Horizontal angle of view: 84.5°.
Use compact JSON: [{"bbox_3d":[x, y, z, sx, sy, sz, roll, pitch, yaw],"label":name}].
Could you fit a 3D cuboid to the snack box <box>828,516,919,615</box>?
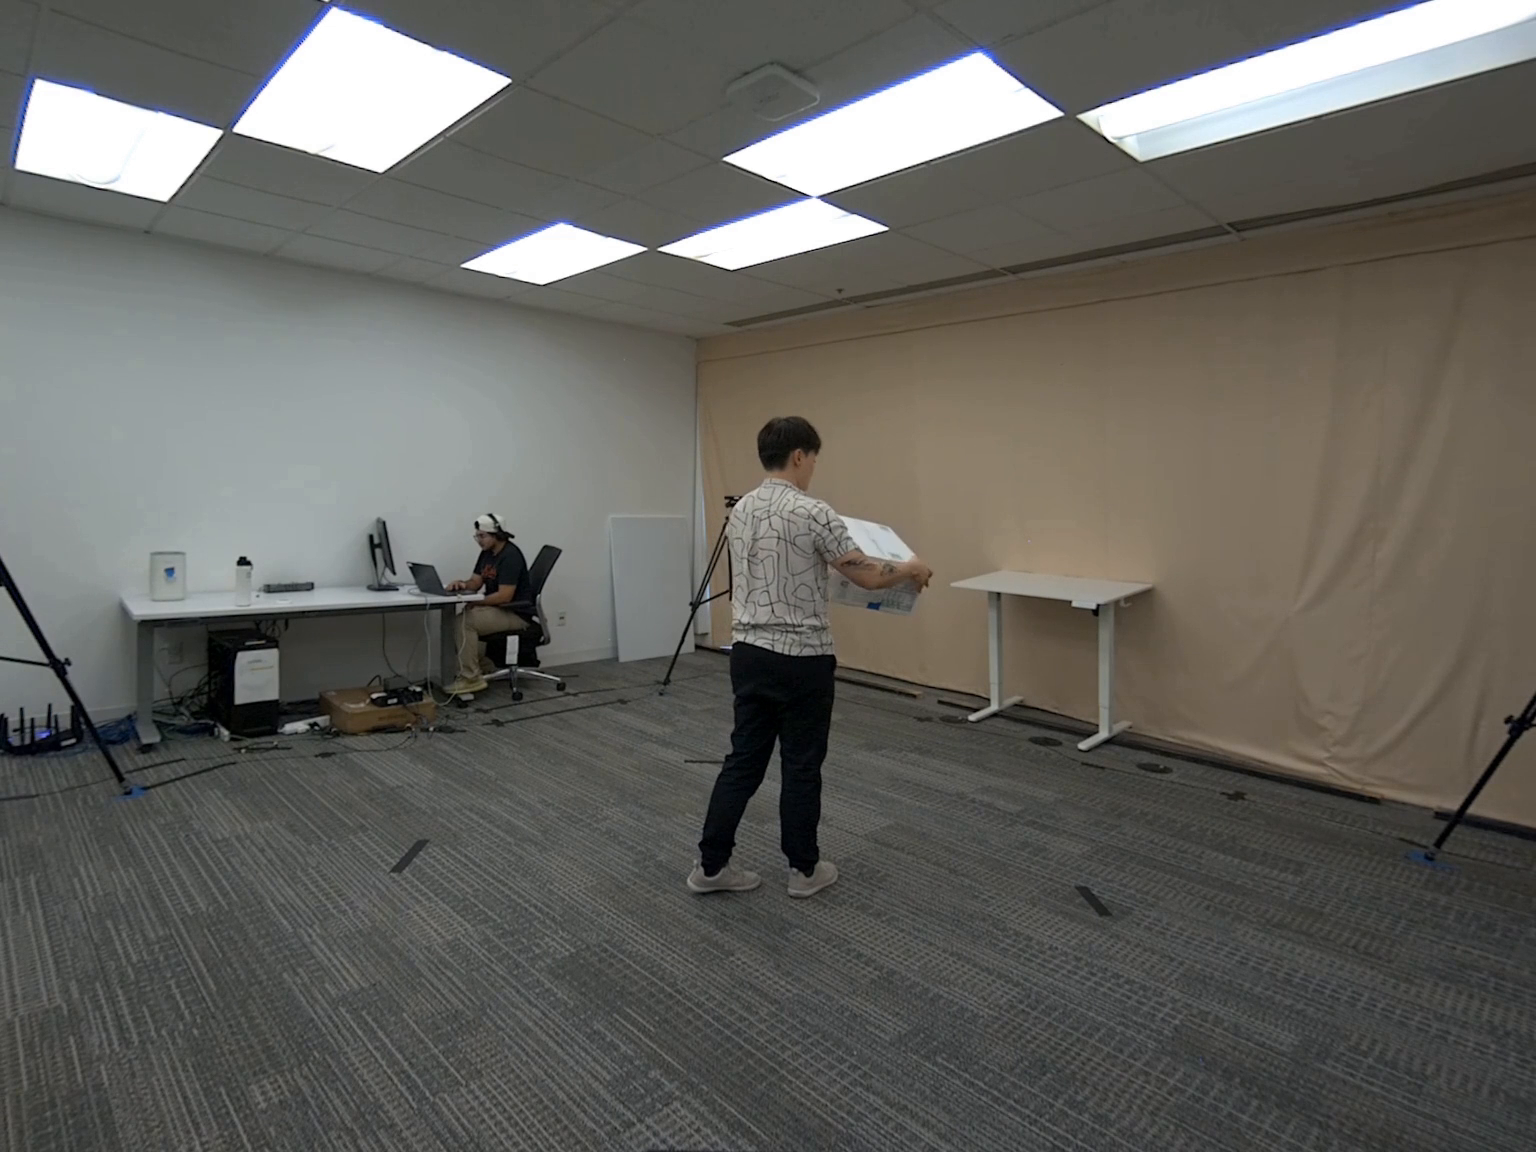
[{"bbox_3d":[0.356,-0.054,3.241,0.335,0.204,0.415,11,22,-19],"label":"snack box"}]
